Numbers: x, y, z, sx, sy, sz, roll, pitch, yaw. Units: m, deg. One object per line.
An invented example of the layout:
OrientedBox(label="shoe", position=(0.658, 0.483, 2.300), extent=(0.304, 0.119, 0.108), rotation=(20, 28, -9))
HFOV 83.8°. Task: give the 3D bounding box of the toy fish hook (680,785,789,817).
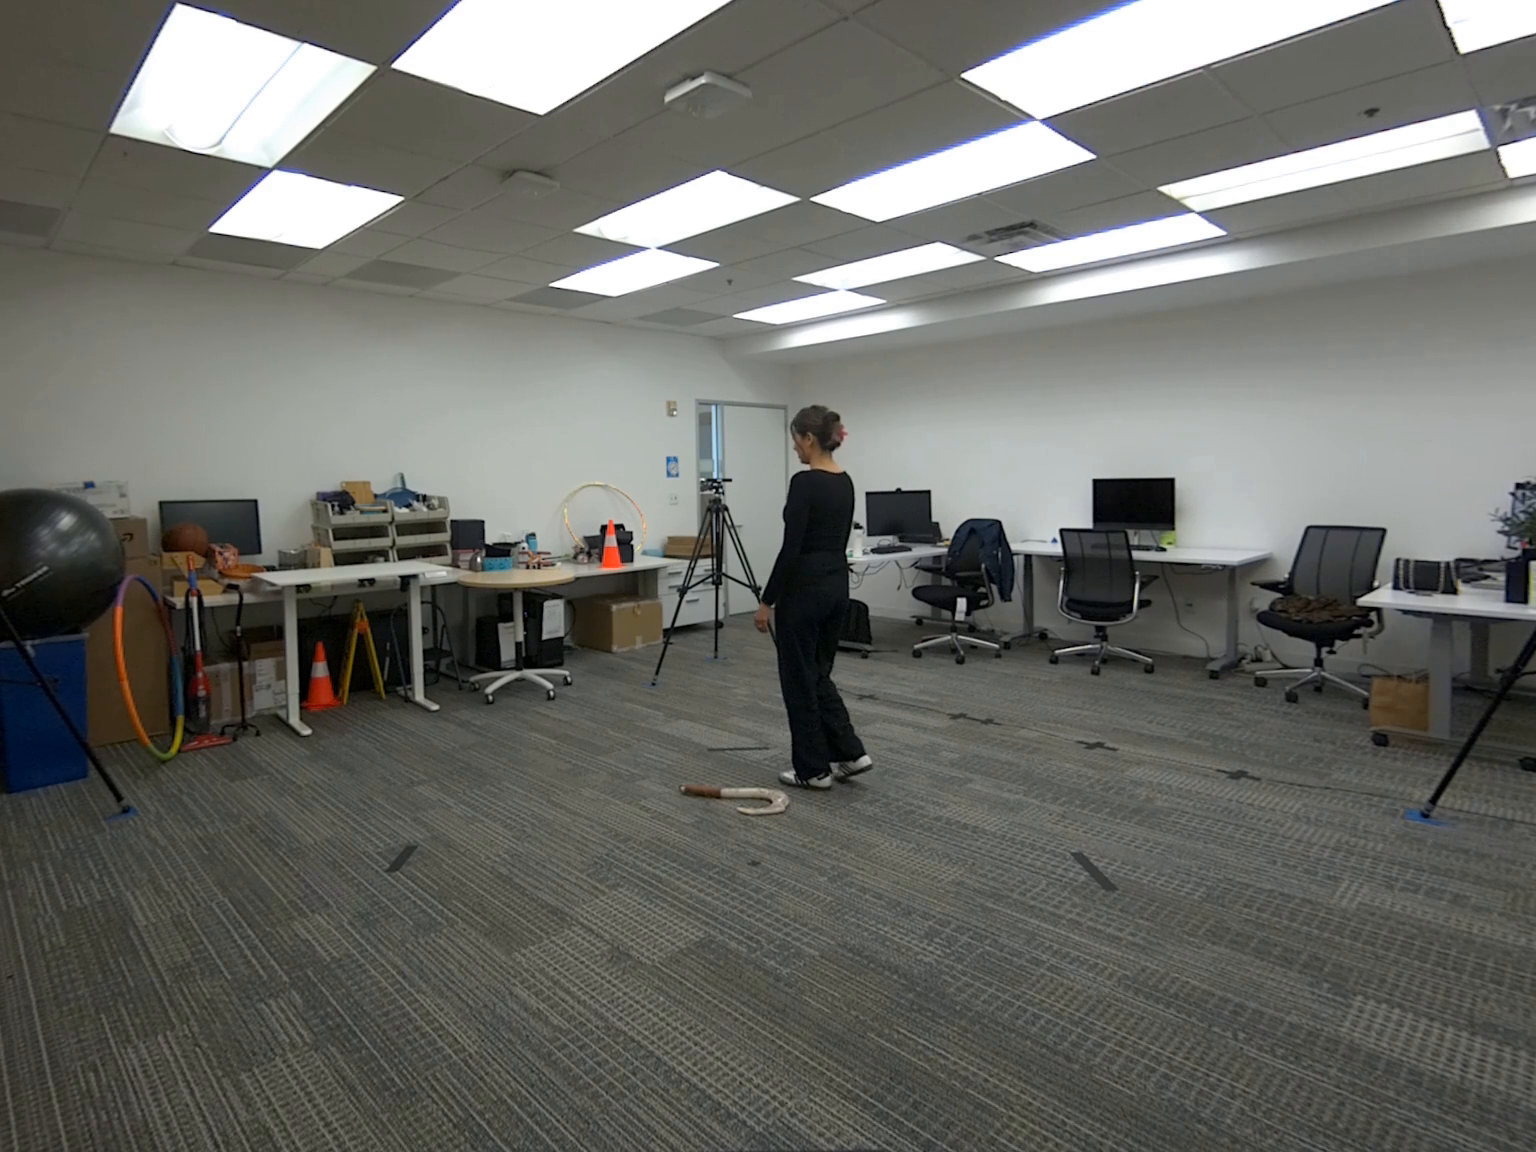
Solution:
OrientedBox(label="toy fish hook", position=(-0.163, 0.960, 3.689), extent=(0.515, 0.048, 0.221), rotation=(0, 5, 18))
